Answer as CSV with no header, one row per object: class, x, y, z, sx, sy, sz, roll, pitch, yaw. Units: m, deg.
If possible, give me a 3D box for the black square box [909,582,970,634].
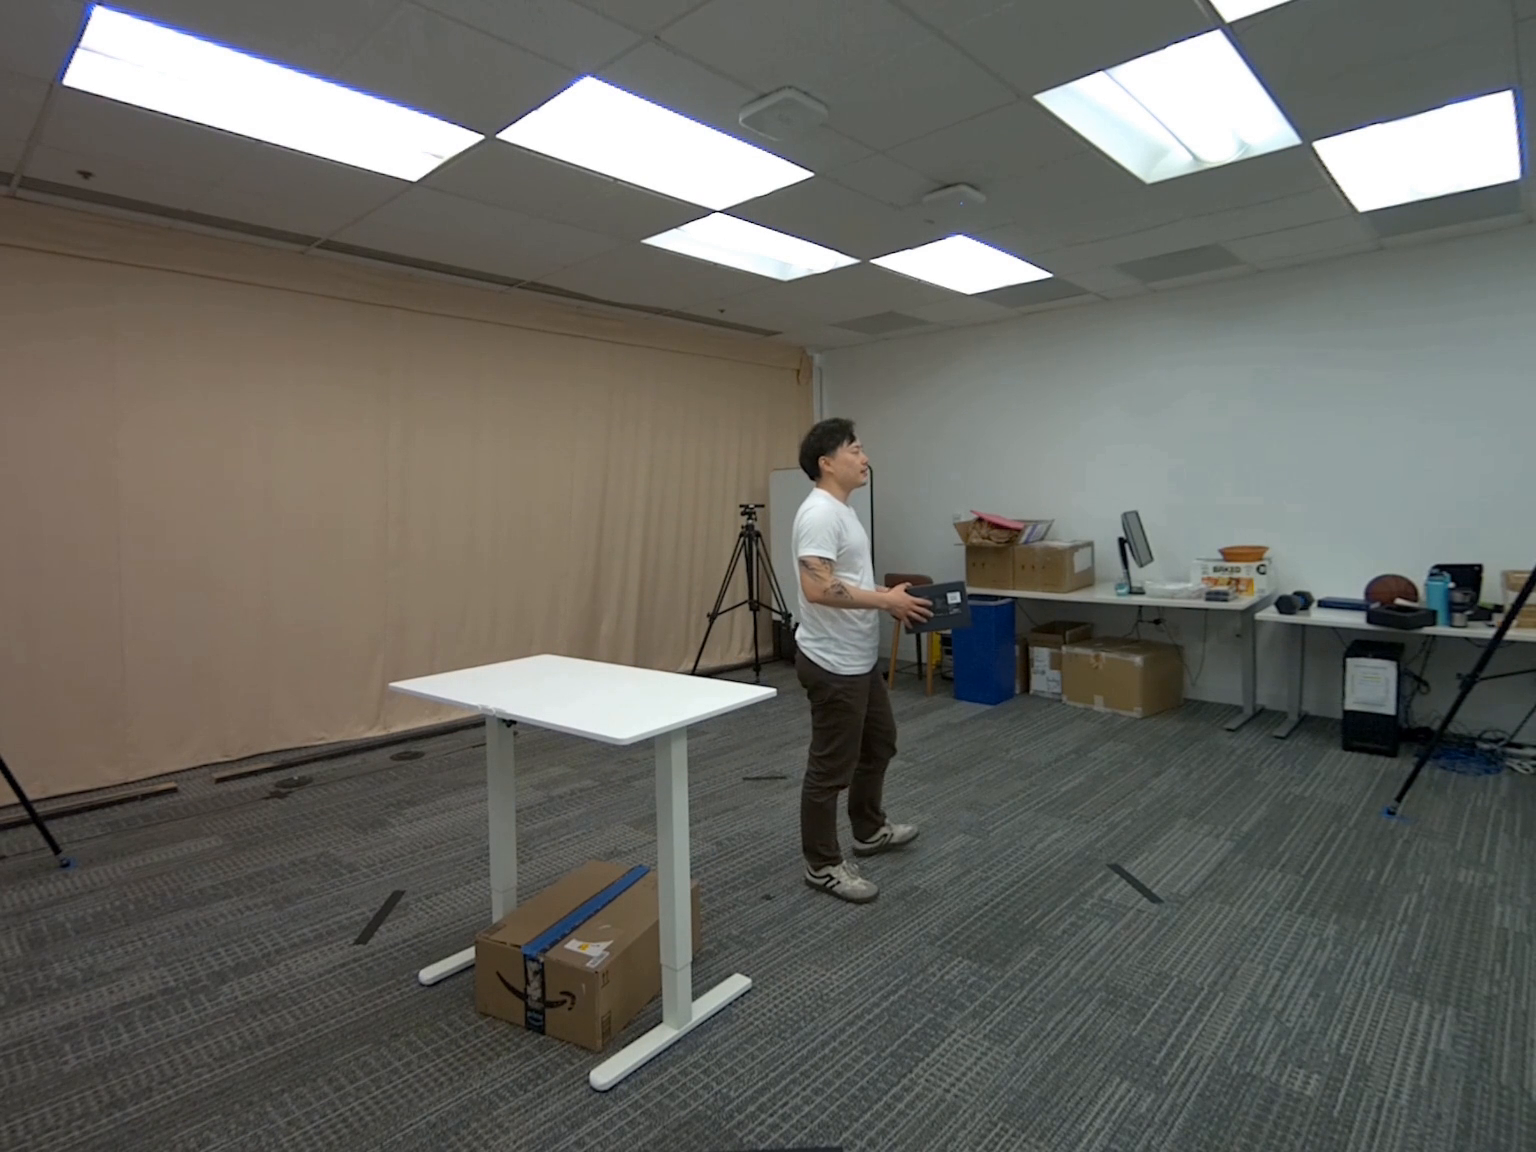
black square box,0.586,0.100,2.920,0.220,0.156,0.224,-8,-1,15
